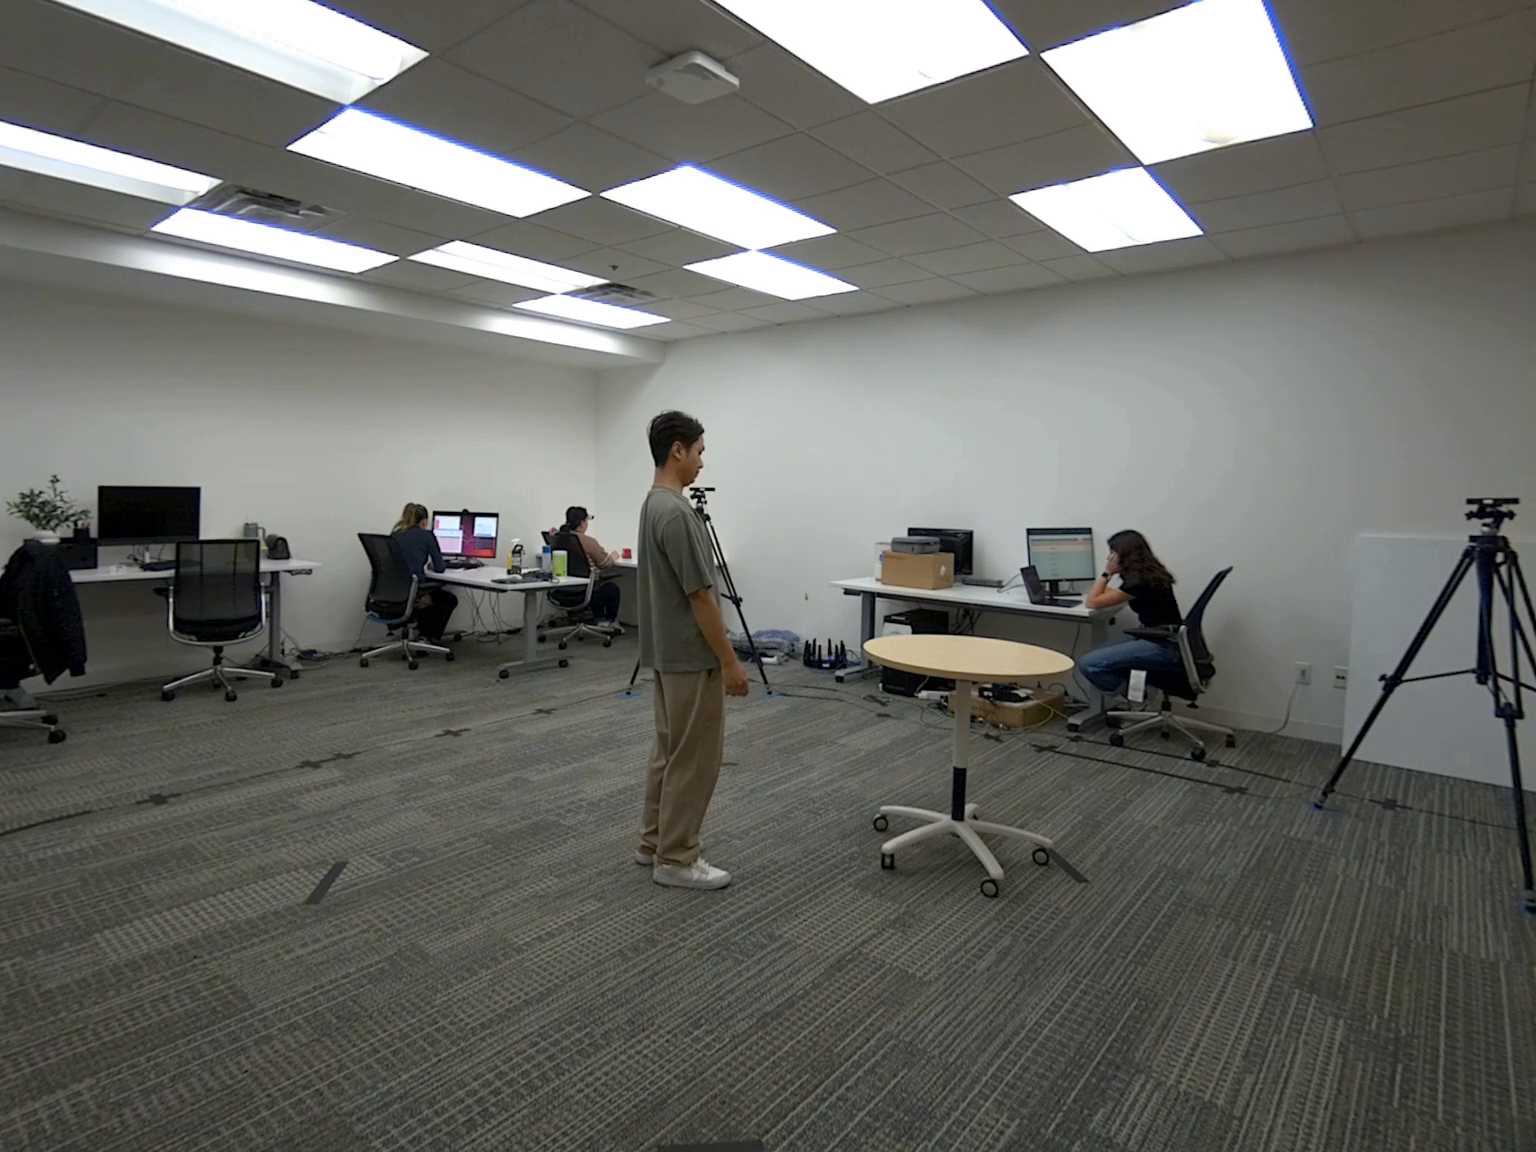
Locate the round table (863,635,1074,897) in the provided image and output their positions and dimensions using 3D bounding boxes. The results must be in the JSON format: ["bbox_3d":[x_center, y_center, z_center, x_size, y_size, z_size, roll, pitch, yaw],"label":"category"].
[{"bbox_3d":[0.728,0.683,3.247,0.784,0.784,0.789,1,4,-2],"label":"round table"}]
